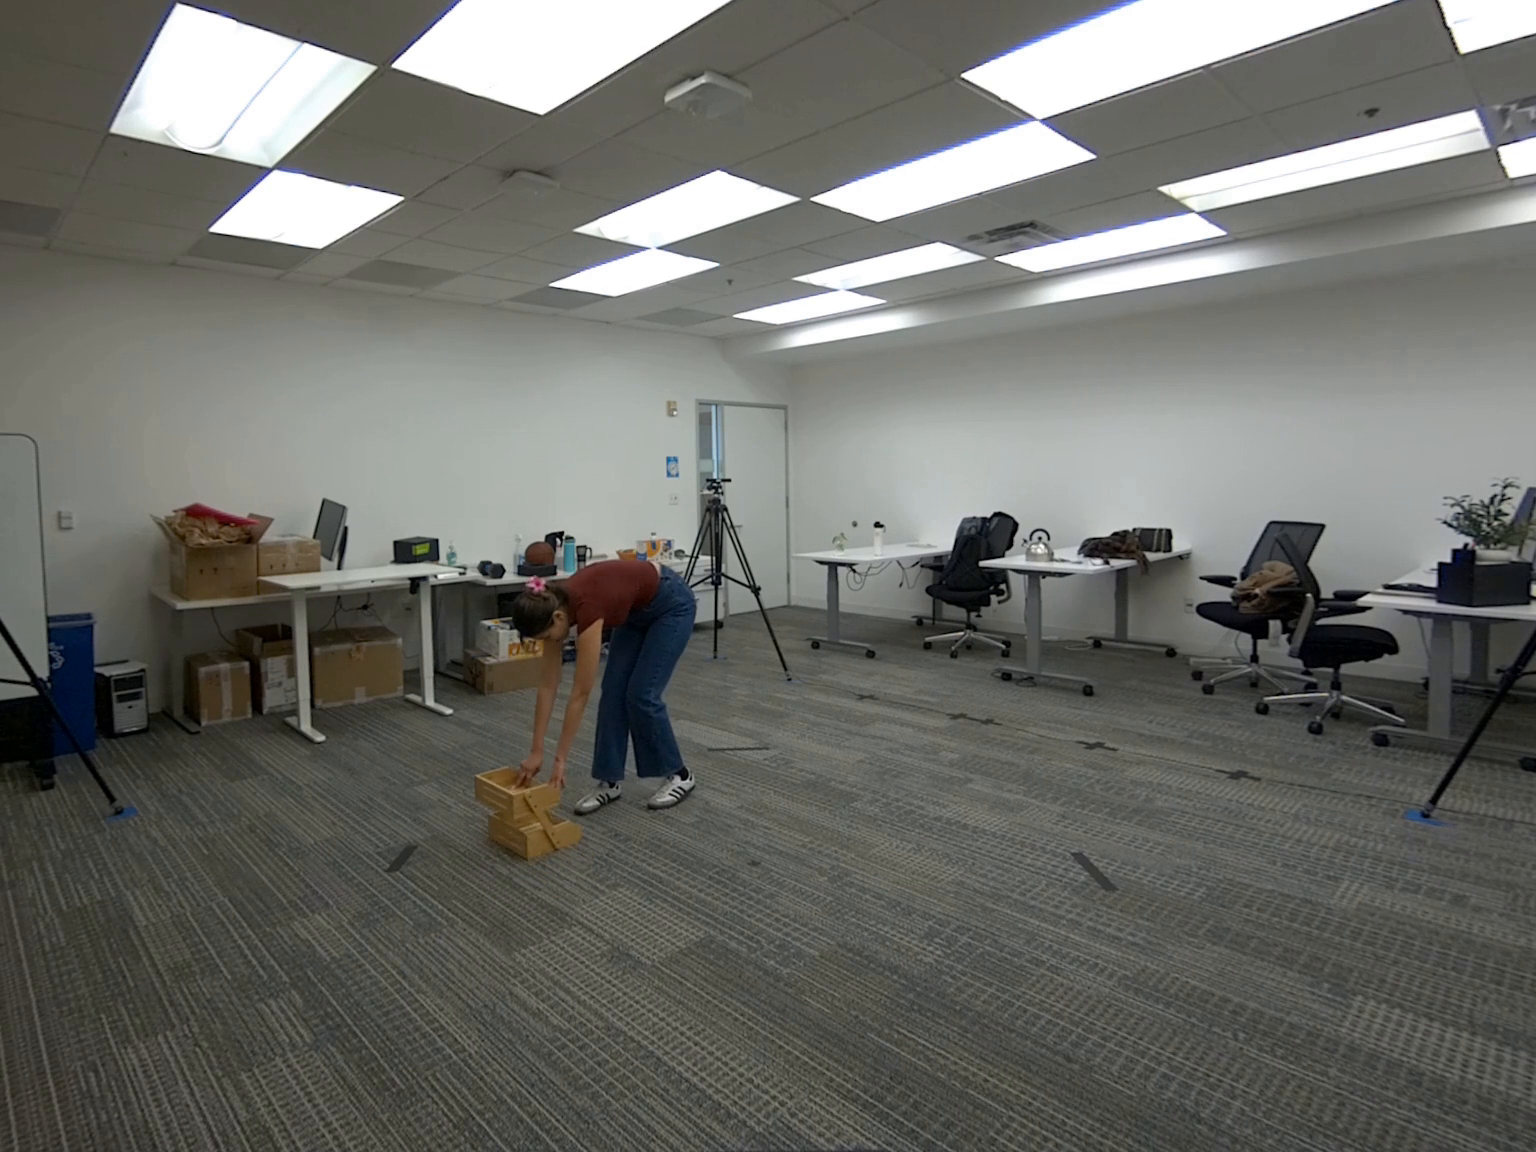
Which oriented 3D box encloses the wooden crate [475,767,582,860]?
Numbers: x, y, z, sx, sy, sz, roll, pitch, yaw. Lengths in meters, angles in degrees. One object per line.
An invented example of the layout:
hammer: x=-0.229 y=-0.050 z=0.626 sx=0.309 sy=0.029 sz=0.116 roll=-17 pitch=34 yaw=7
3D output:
wooden crate: x=-0.926 y=0.900 z=3.334 sx=0.294 sy=0.272 sz=0.334 roll=-6 pitch=7 yaw=-44
